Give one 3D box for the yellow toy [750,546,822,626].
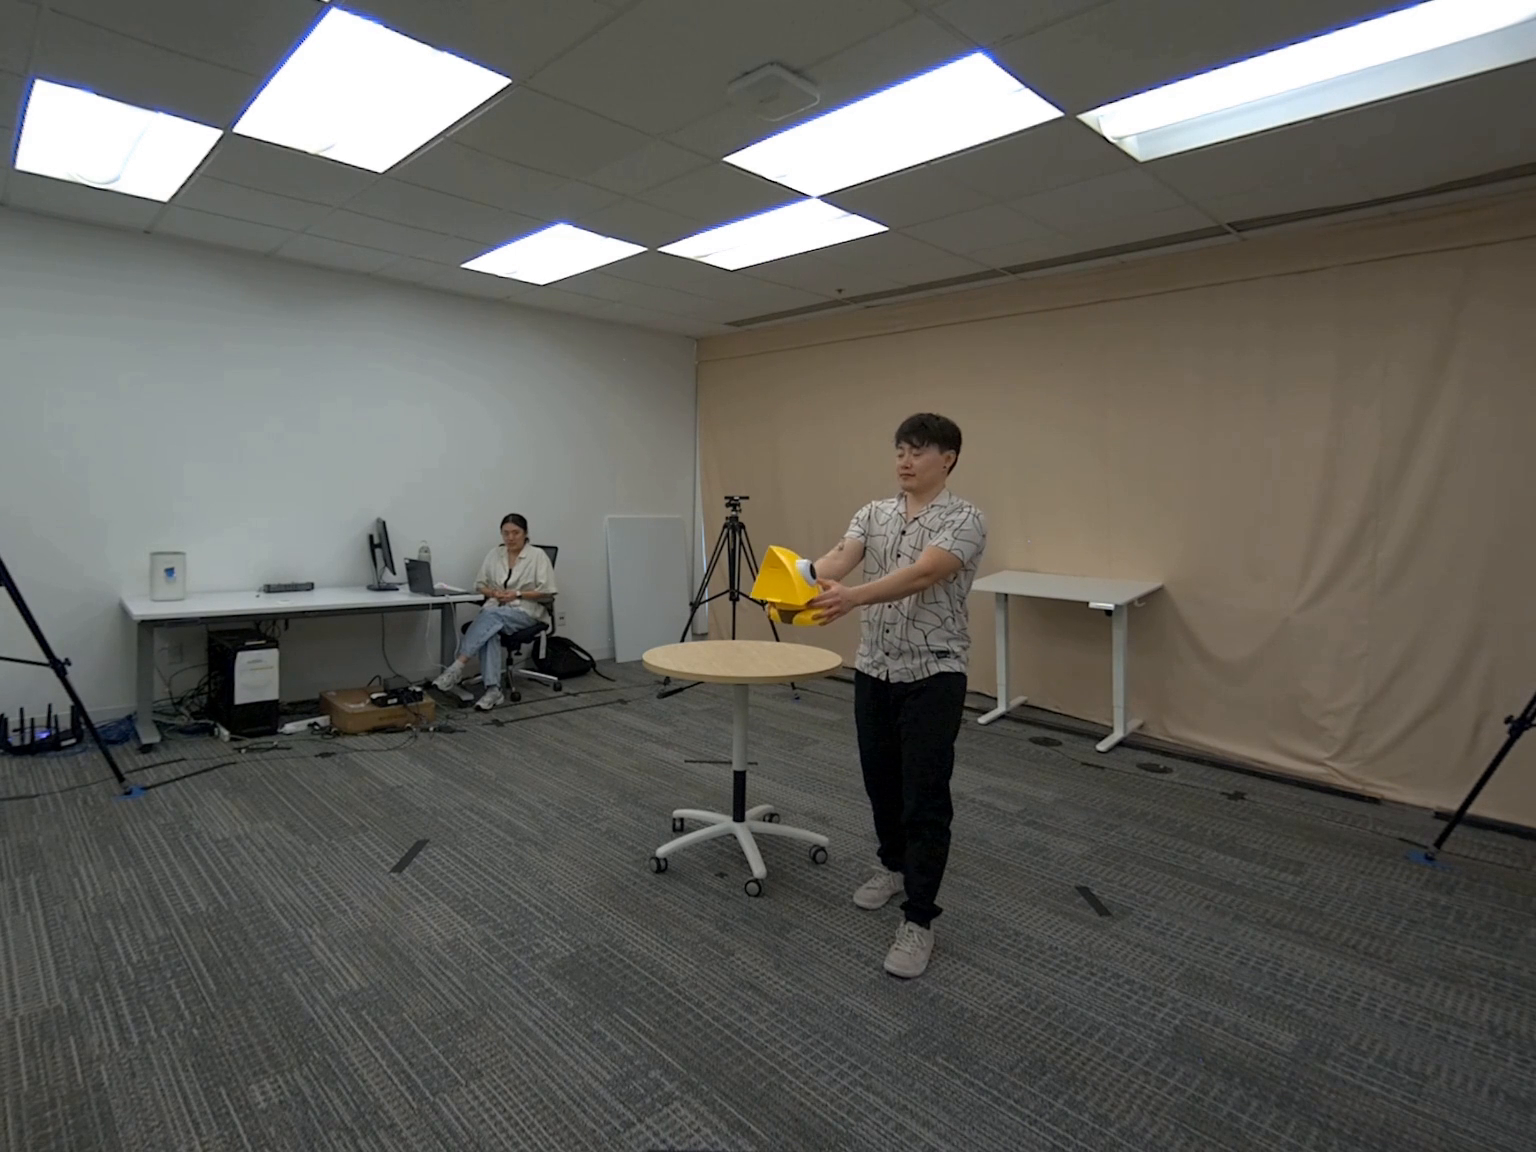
[{"bbox_3d":[0.074,0.003,2.351,0.191,0.227,0.210,-27,20,-37],"label":"yellow toy"}]
